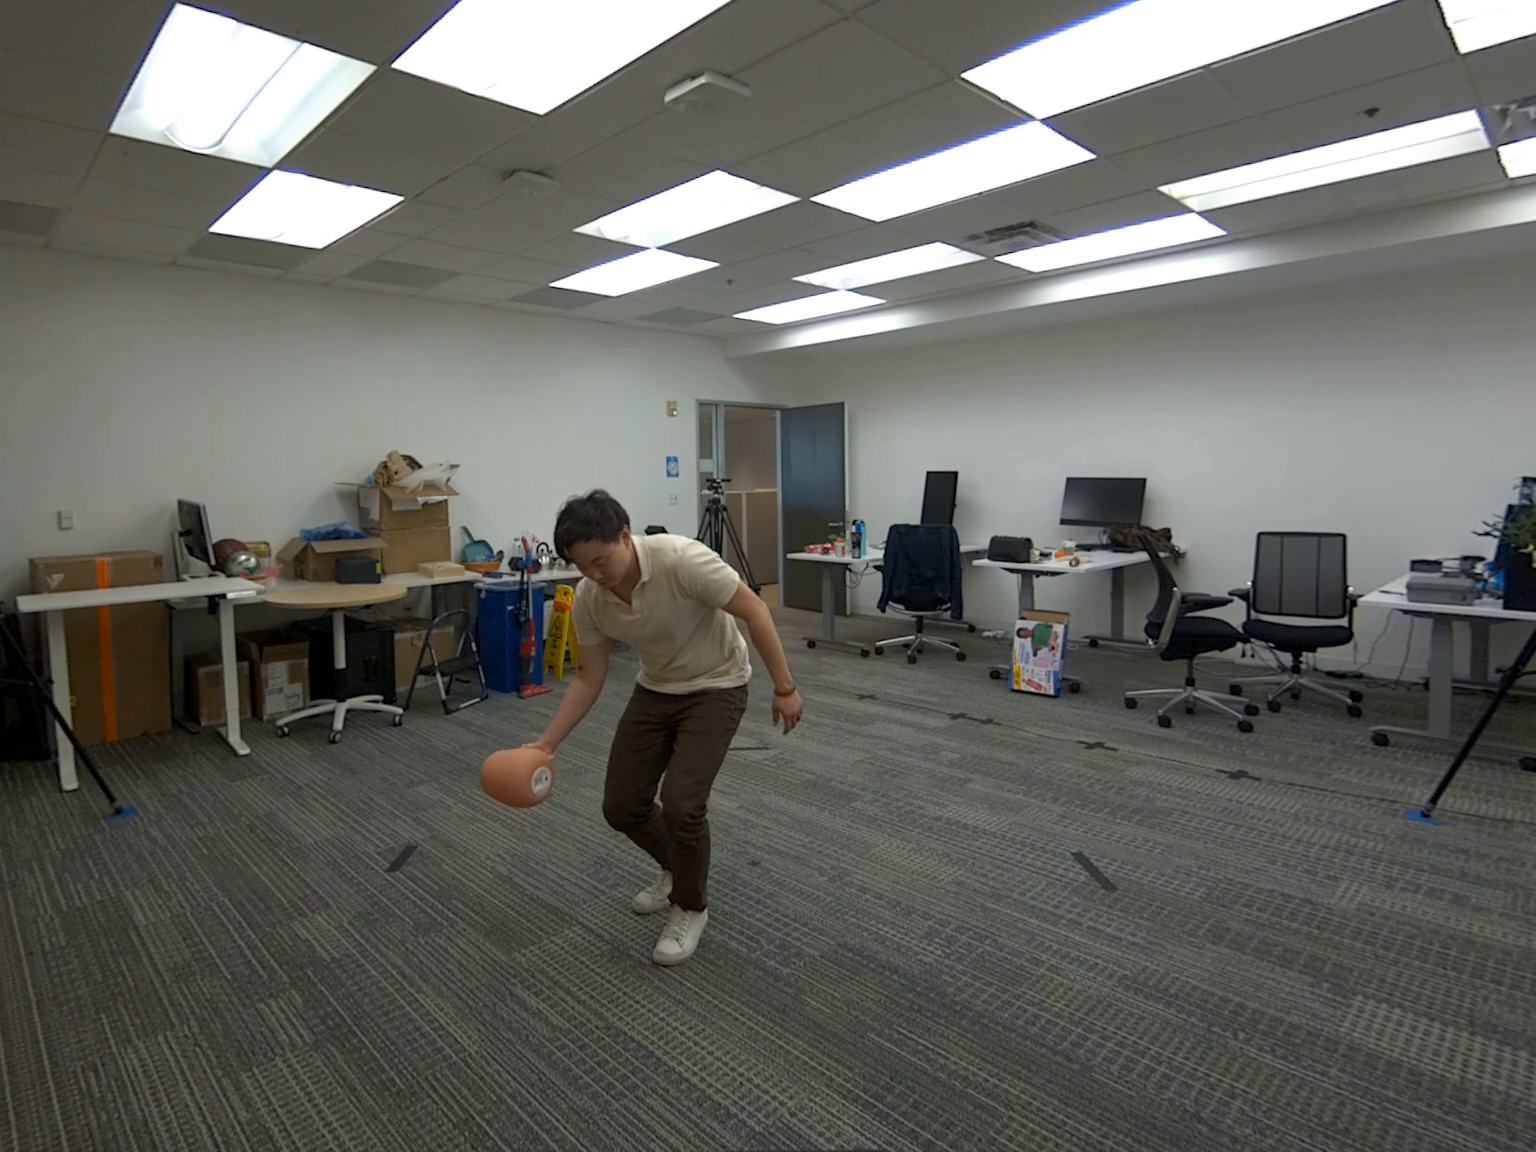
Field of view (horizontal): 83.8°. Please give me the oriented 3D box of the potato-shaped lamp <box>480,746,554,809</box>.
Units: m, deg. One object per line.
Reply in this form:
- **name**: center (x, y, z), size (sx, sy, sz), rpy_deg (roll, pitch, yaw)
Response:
- **potato-shaped lamp**: center (-0.708, 0.577, 2.442), size (0.203, 0.164, 0.167), rpy_deg (2, 4, 28)
